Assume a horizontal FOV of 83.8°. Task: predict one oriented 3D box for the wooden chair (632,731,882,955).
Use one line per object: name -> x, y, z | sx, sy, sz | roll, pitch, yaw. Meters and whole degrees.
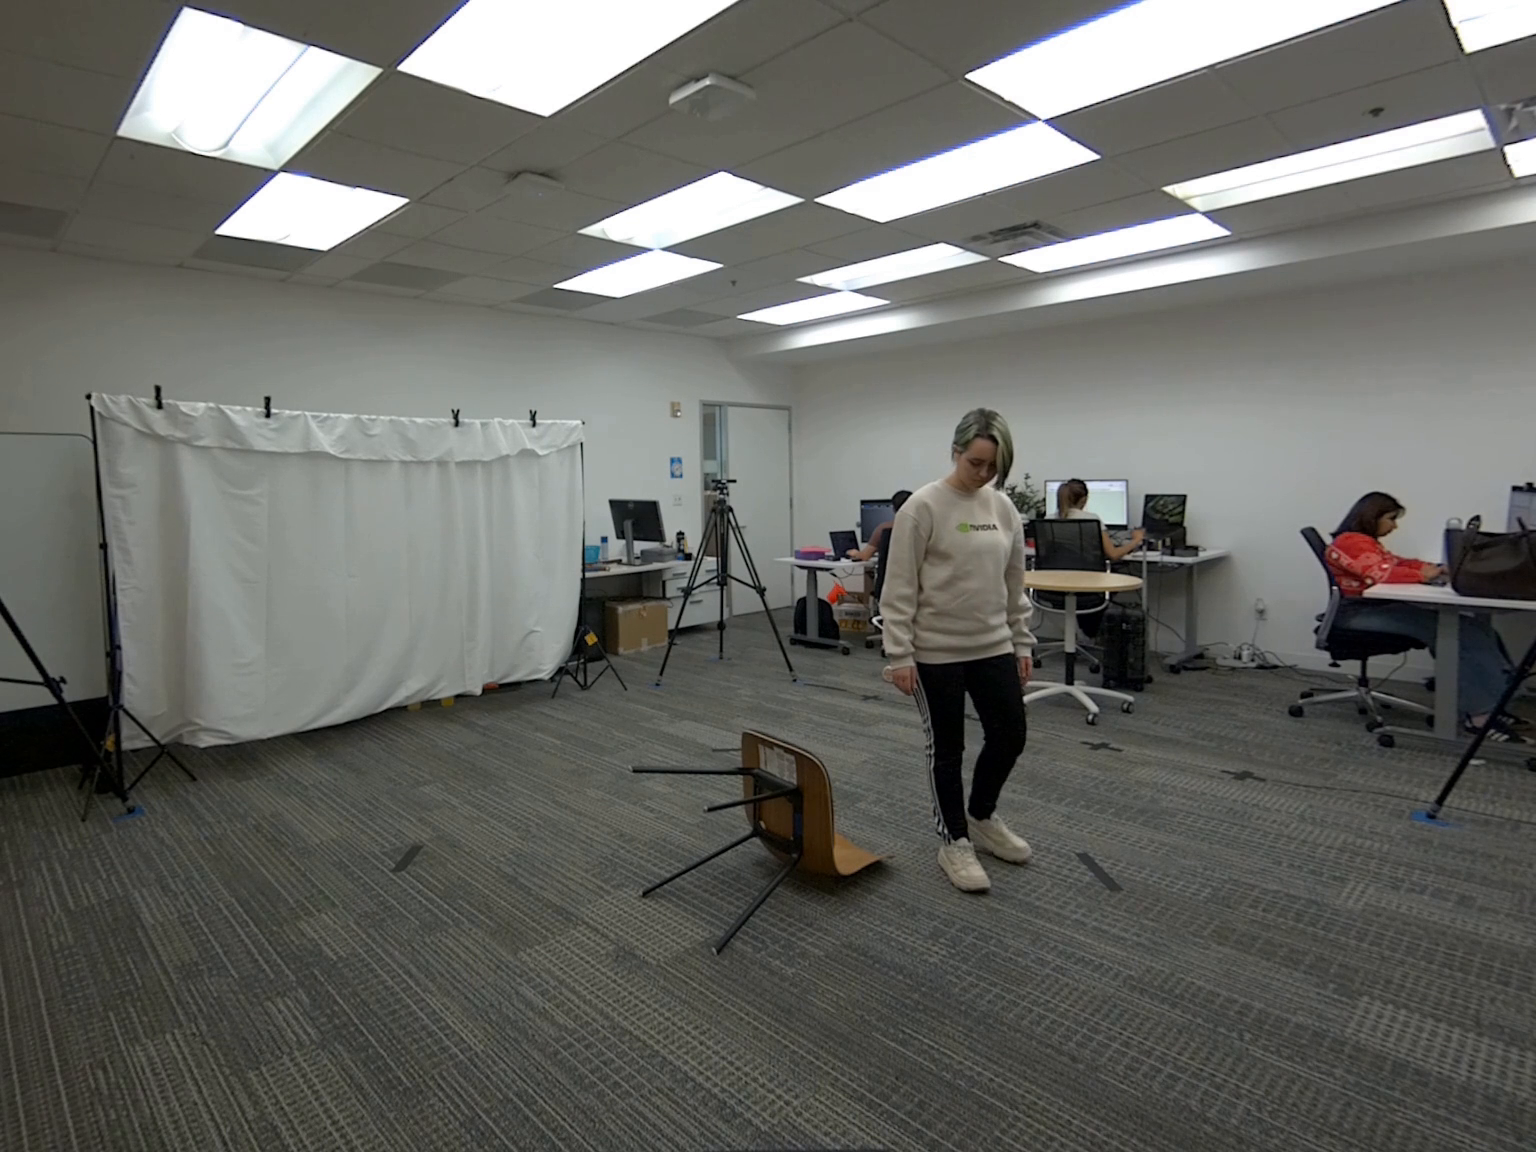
wooden chair -> 0.034, 0.806, 2.912 | 0.854, 0.521, 0.493 | -4, 6, -37
